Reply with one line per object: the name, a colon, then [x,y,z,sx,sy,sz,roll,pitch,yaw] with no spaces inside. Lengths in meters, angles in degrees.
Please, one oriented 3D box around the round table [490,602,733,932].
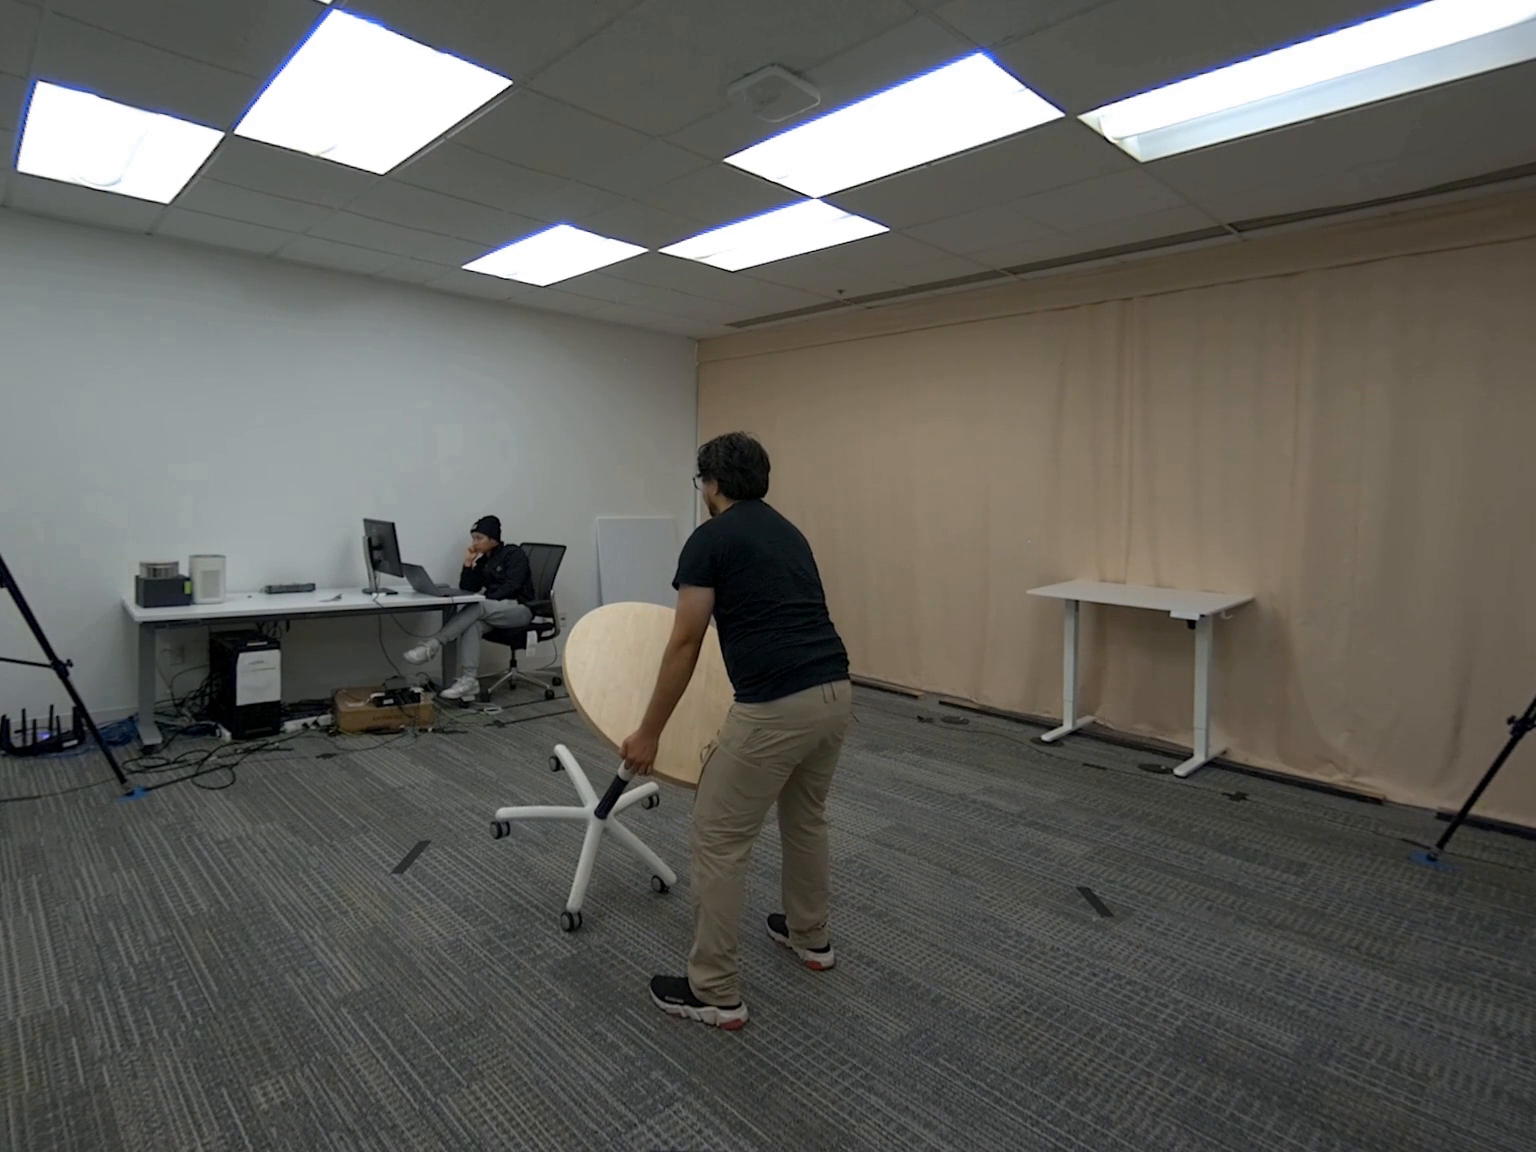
round table: [-0.461,0.648,2.820,0.774,0.782,0.801,23,28,-15]
